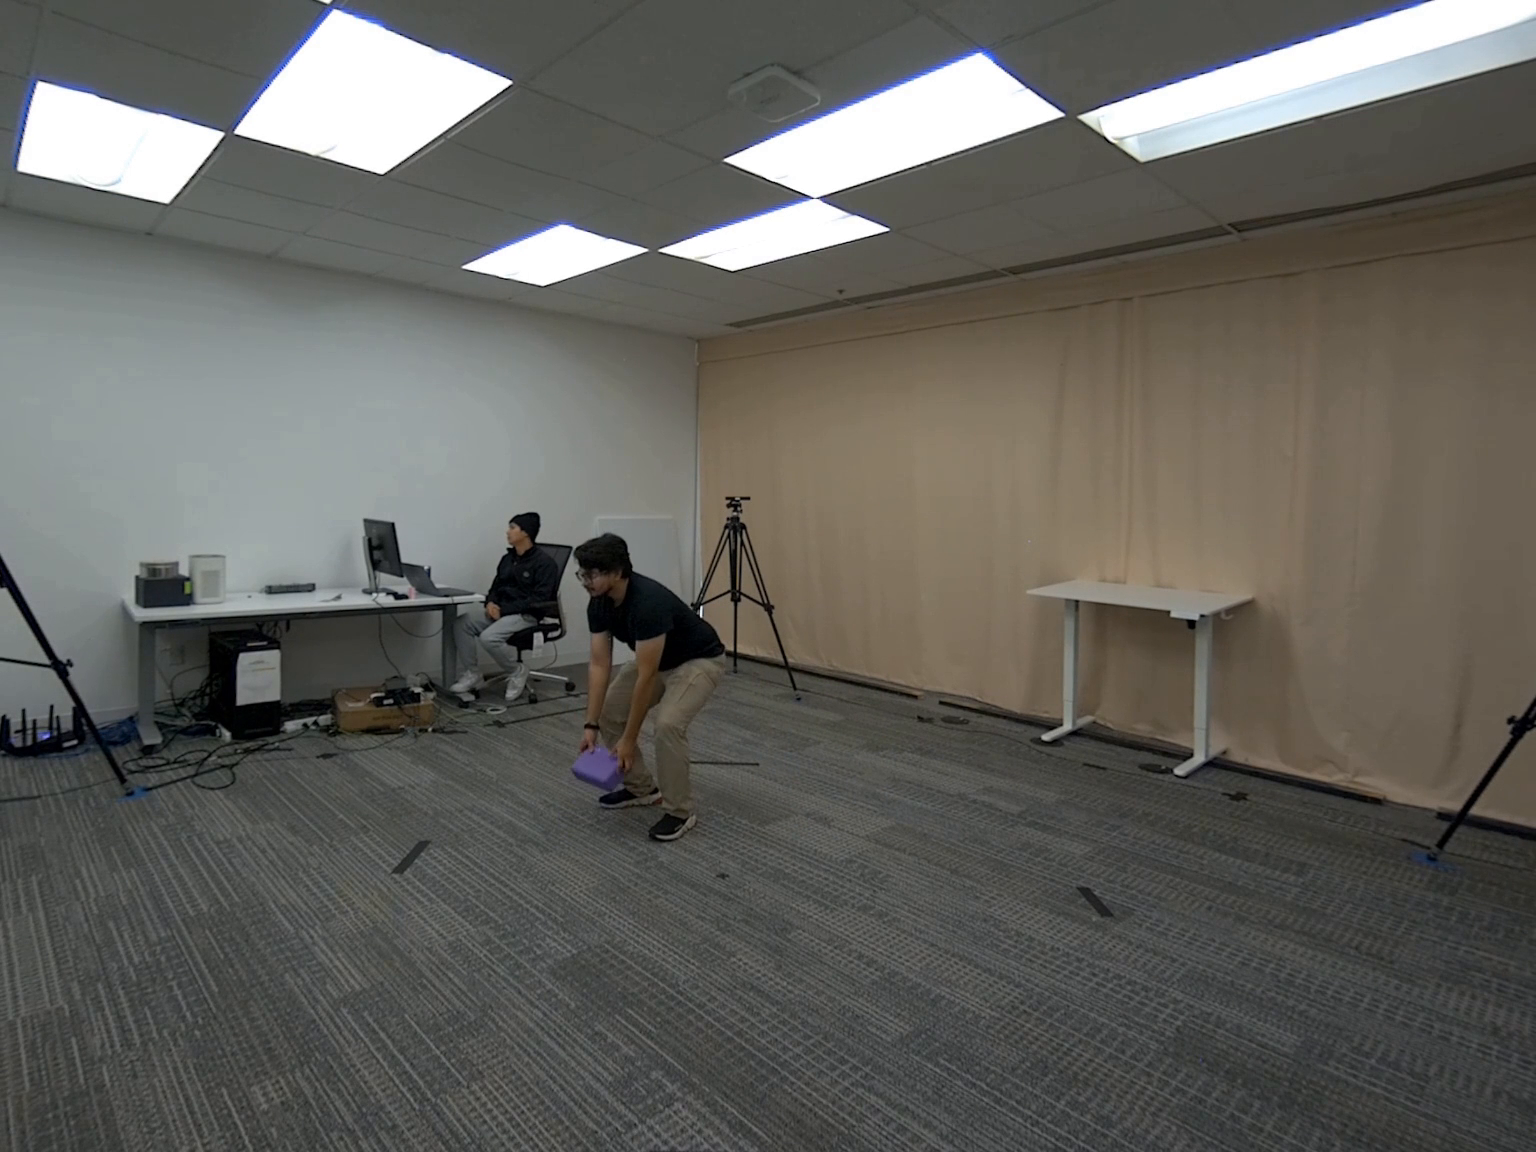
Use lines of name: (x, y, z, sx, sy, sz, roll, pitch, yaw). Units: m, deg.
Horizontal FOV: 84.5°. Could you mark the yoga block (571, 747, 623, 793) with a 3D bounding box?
yoga block: (-0.703, 0.790, 3.495, 0.235, 0.074, 0.149, 5, 38, 40)
